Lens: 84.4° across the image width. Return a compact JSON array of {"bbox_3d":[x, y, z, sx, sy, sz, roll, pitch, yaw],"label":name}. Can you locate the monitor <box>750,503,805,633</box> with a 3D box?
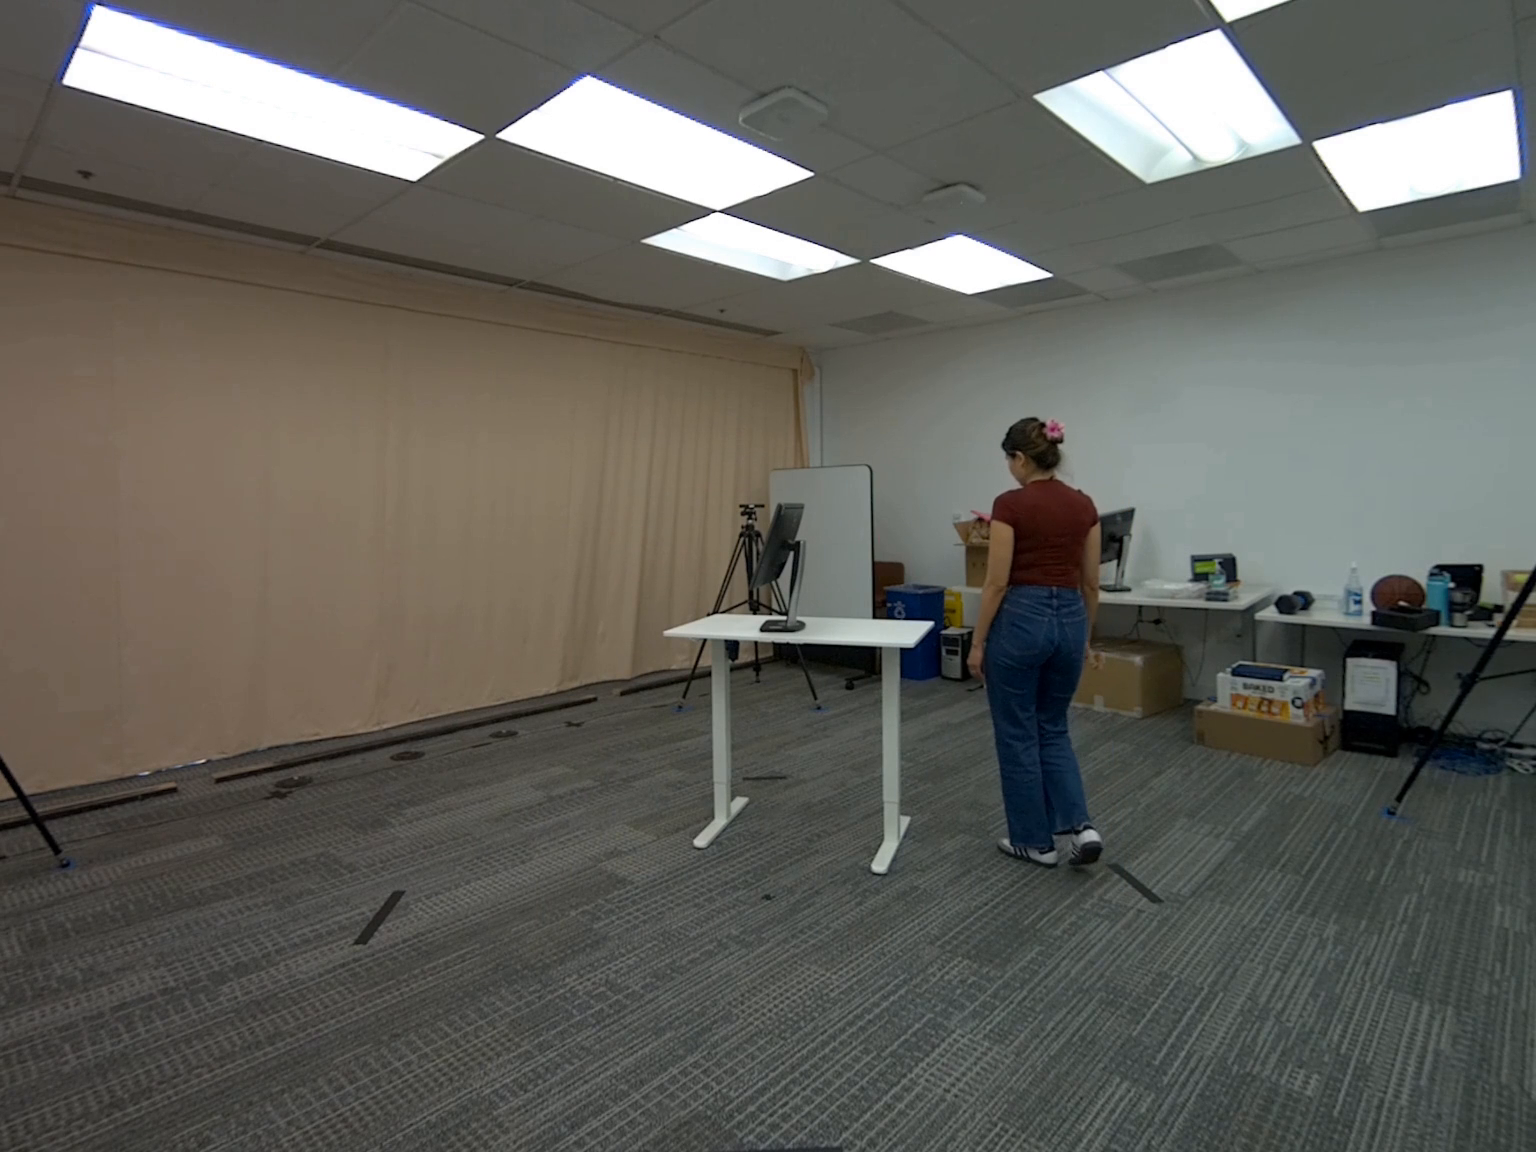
[{"bbox_3d":[0.078,-0.038,3.480,0.189,0.521,0.534,3,4,9],"label":"monitor"}]
